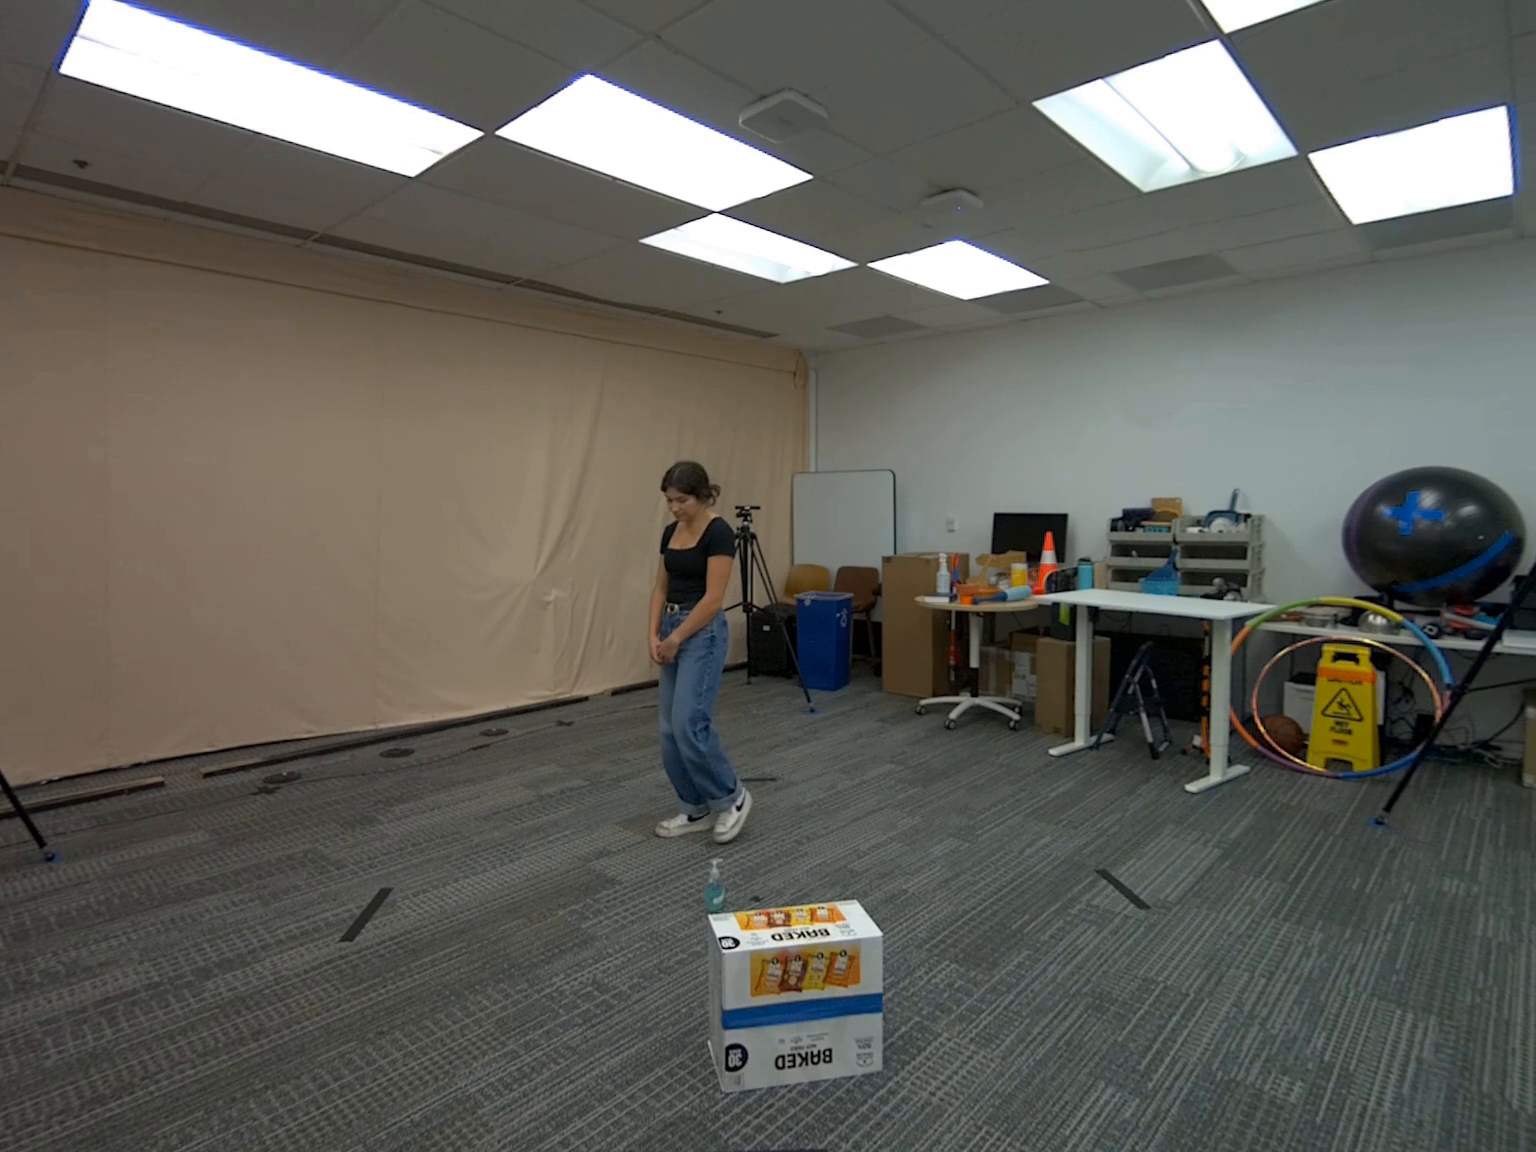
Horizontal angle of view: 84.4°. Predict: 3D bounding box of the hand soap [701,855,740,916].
[{"bbox_3d":[-0.180,1.071,2.913,0.082,0.168,0.045,-7,3,-39],"label":"hand soap"}]
